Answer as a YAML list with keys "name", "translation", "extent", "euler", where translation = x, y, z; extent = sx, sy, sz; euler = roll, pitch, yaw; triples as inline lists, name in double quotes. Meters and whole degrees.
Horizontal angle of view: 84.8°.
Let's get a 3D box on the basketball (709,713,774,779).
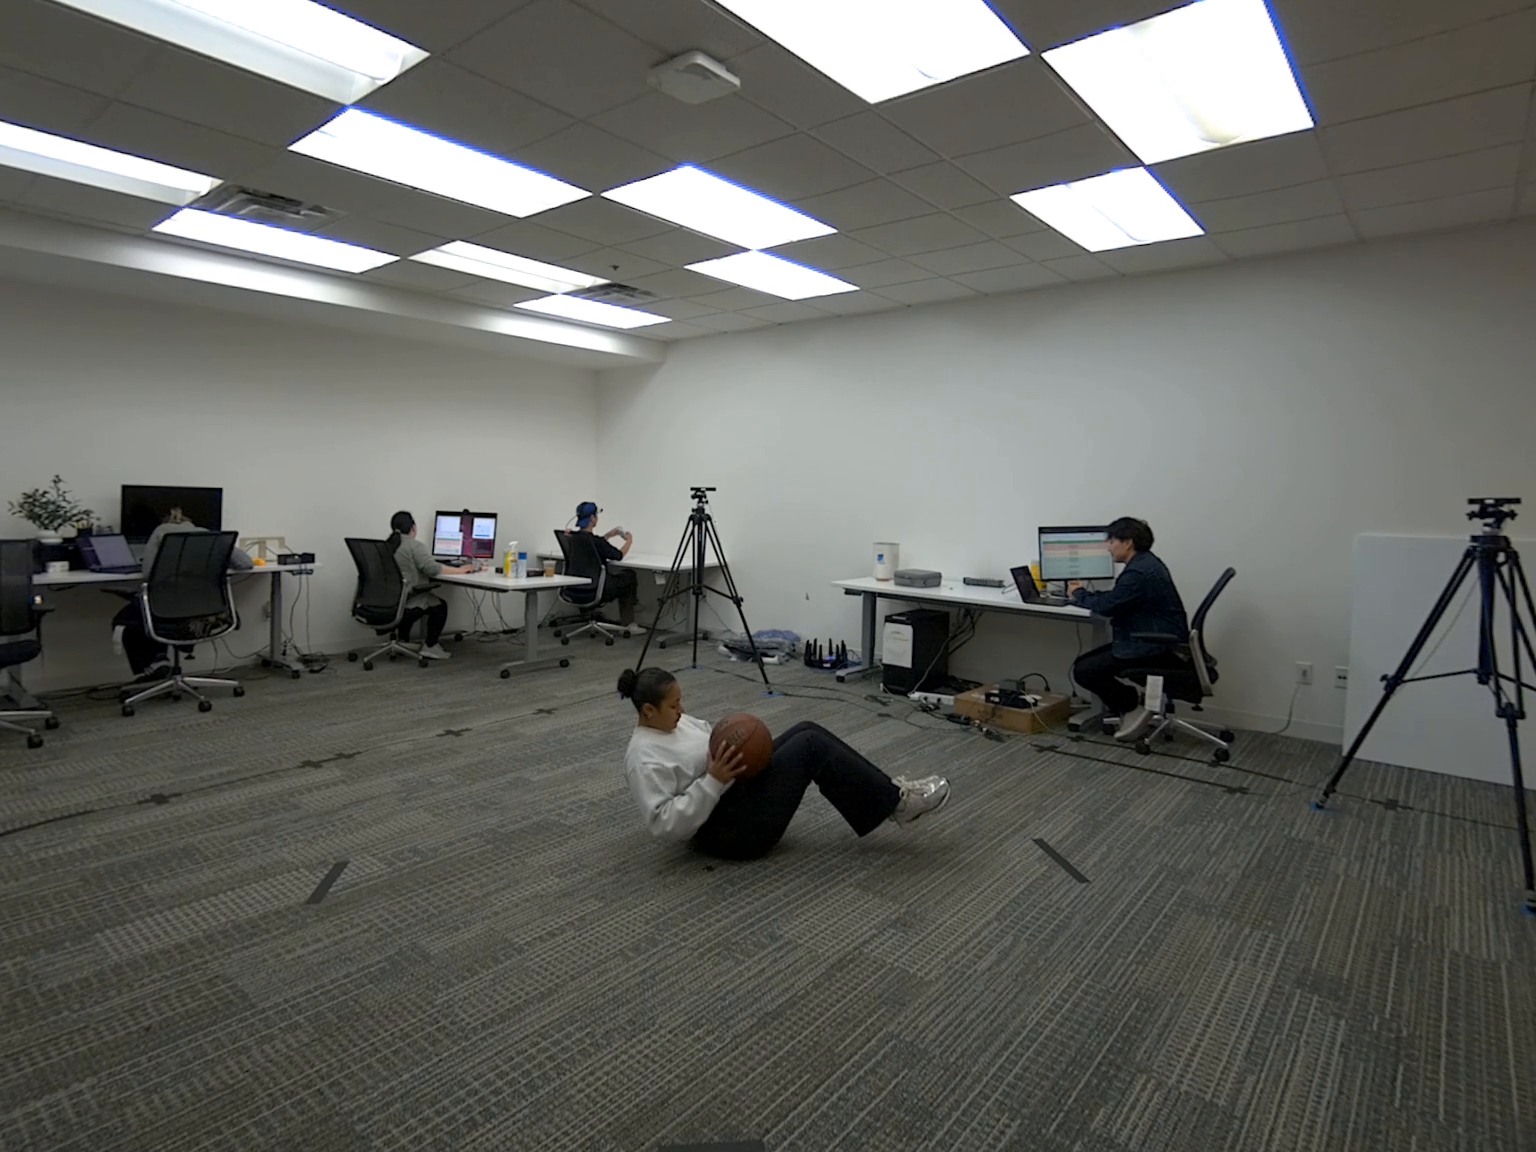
- name: "basketball"
  translation: [-0.124, 0.654, 3.176]
  extent: [0.235, 0.235, 0.237]
  euler: [1, 4, -2]
